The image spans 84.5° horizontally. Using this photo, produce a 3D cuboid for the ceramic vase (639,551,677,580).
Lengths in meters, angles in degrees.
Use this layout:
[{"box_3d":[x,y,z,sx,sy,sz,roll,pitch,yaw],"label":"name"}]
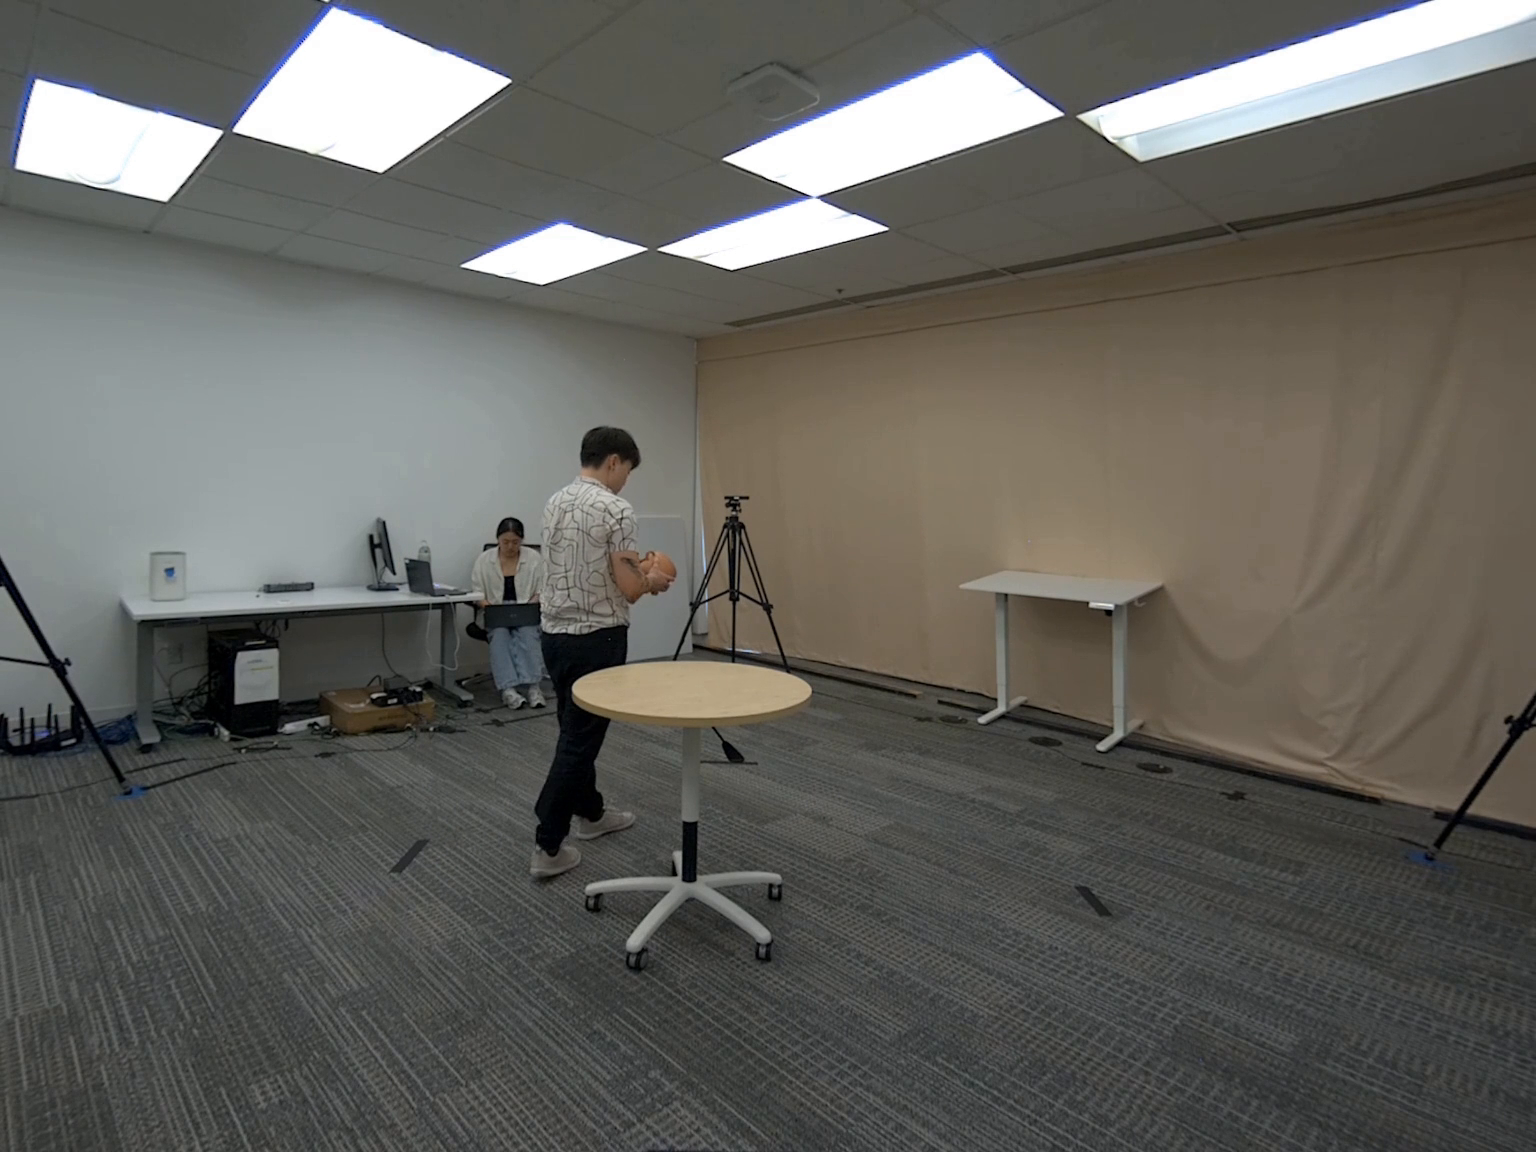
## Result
[{"box_3d":[-0.500,0.012,3.413,0.219,0.160,0.134,-39,-7,-31],"label":"ceramic vase"}]
